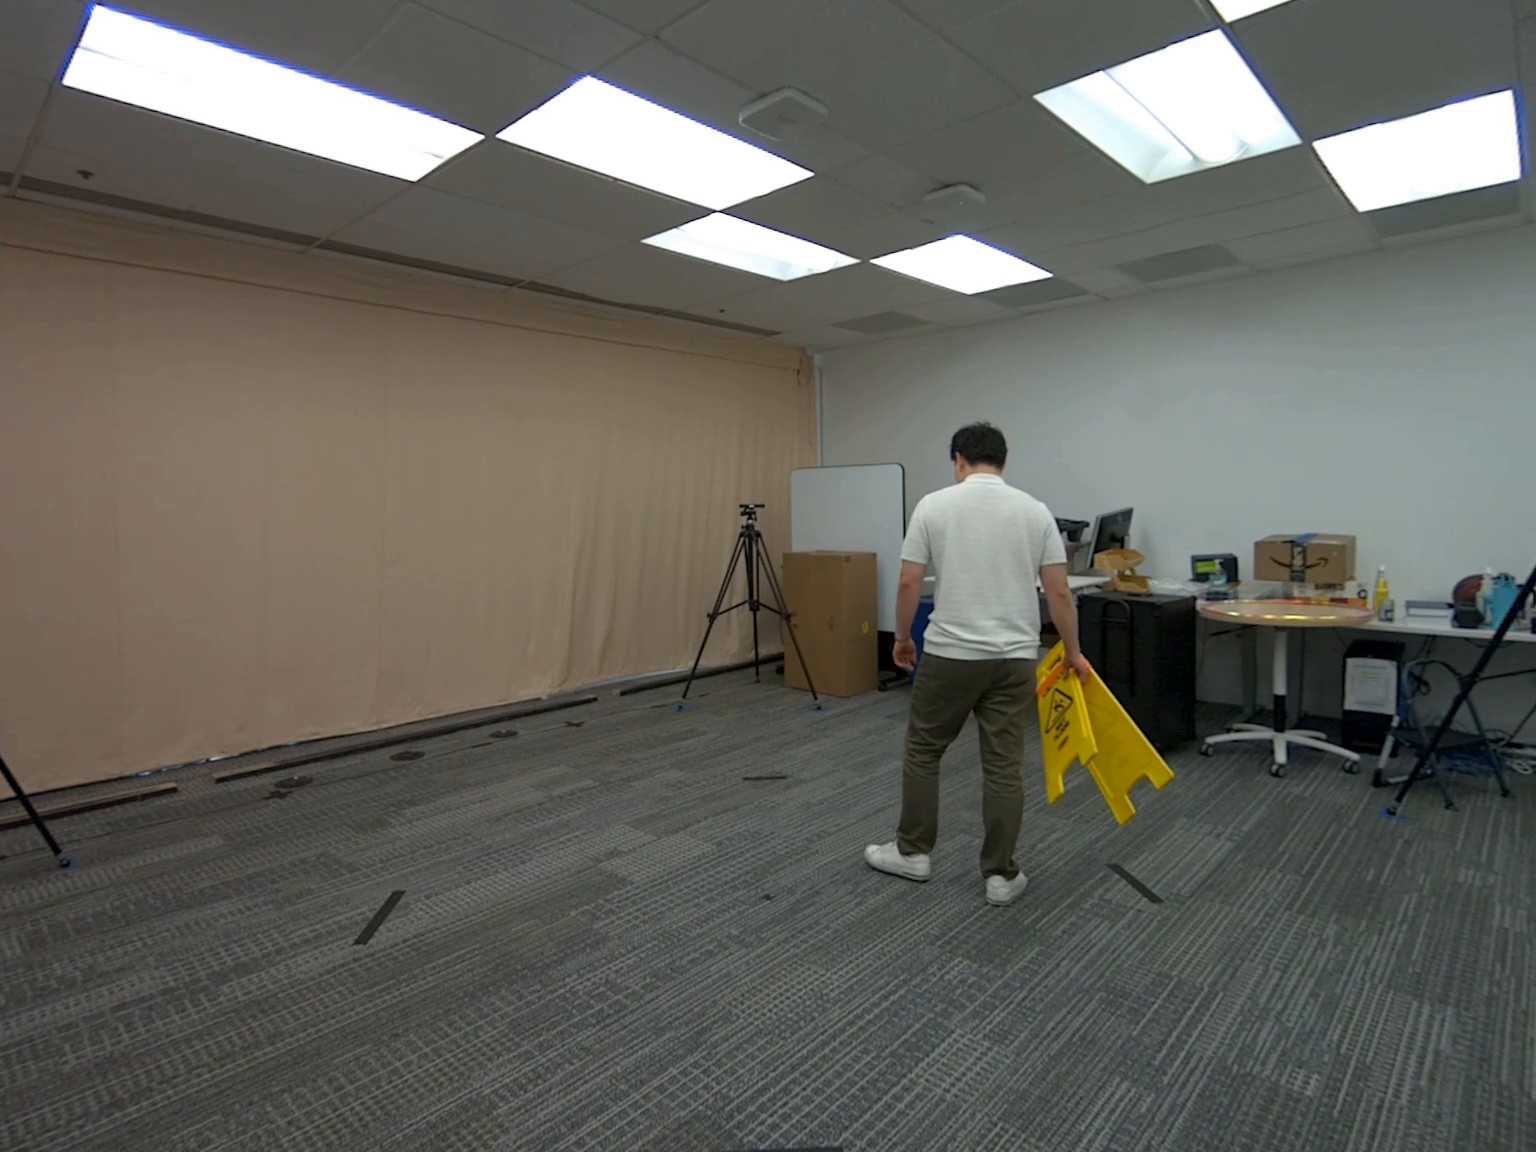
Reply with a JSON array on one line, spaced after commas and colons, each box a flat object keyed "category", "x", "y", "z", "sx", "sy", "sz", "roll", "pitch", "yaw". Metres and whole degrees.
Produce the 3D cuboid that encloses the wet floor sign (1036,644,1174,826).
[{"category": "wet floor sign", "x": 1.108, "y": 0.506, "z": 2.998, "sx": 0.285, "sy": 0.281, "sz": 0.658, "roll": 16, "pitch": 35, "yaw": -14}]
